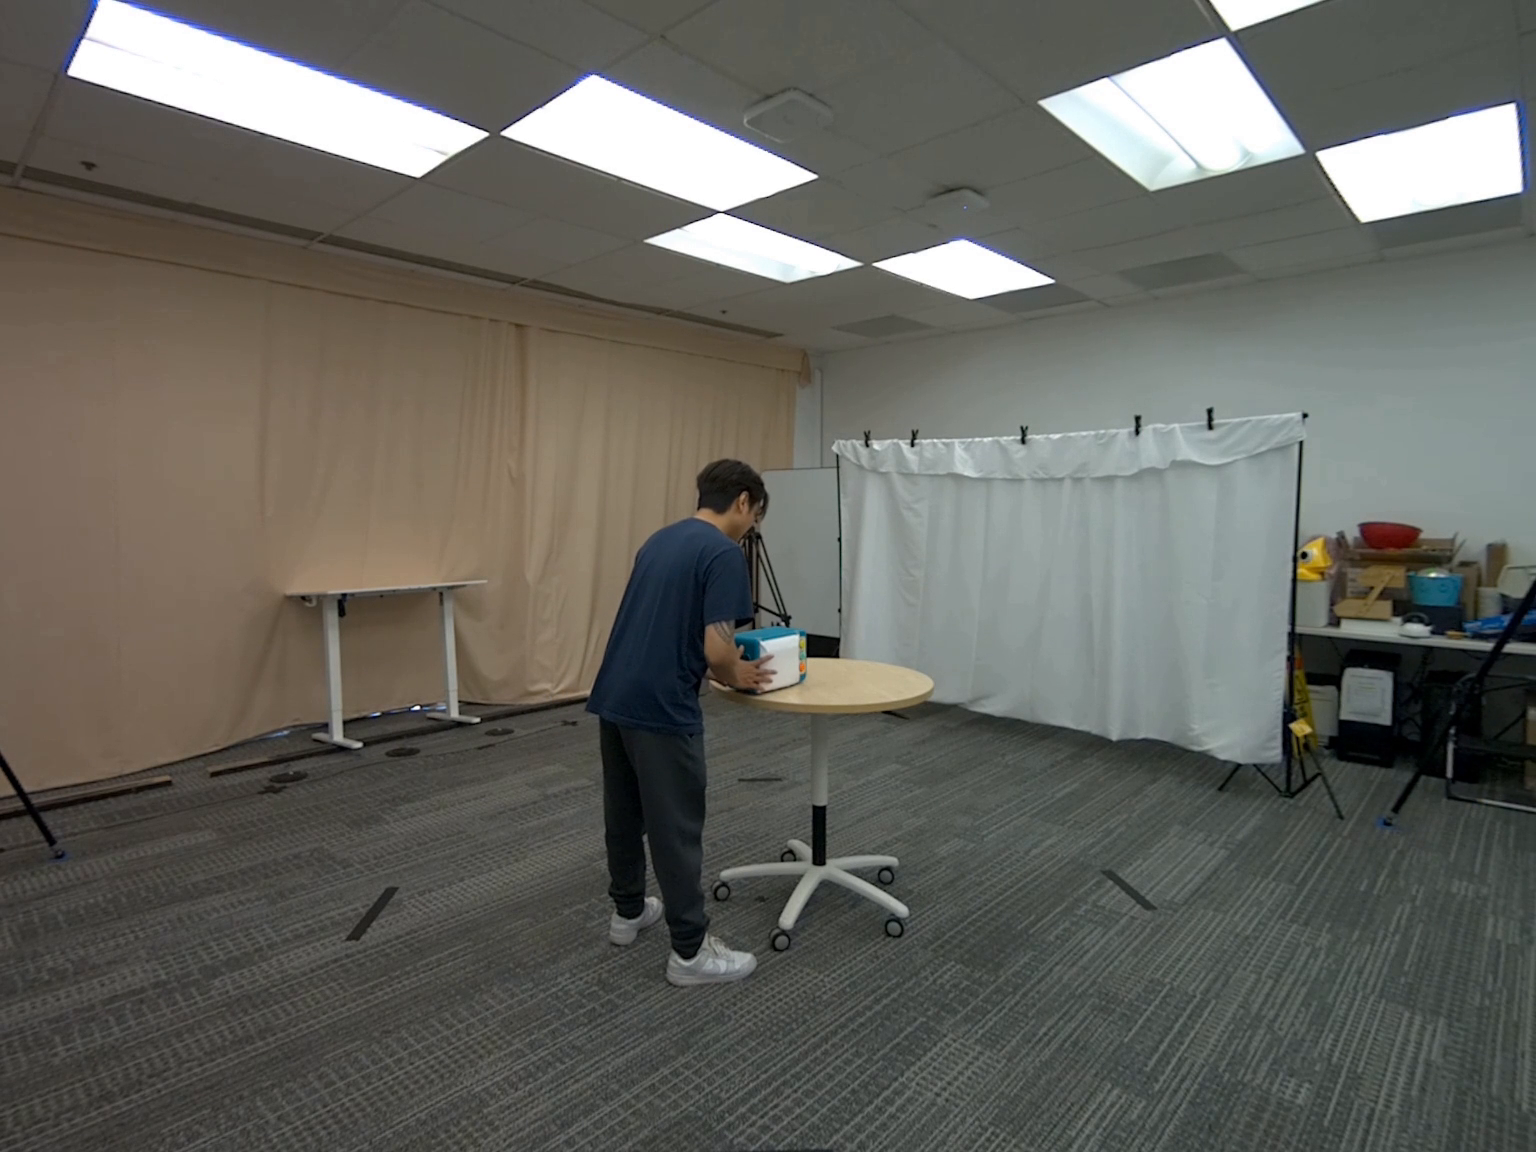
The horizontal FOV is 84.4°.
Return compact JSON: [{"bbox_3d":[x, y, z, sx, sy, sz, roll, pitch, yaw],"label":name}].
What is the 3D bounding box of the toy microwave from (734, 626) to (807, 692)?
[{"bbox_3d":[0.012,0.277,2.770,0.157,0.183,0.278,3,6,39],"label":"toy microwave"}]
